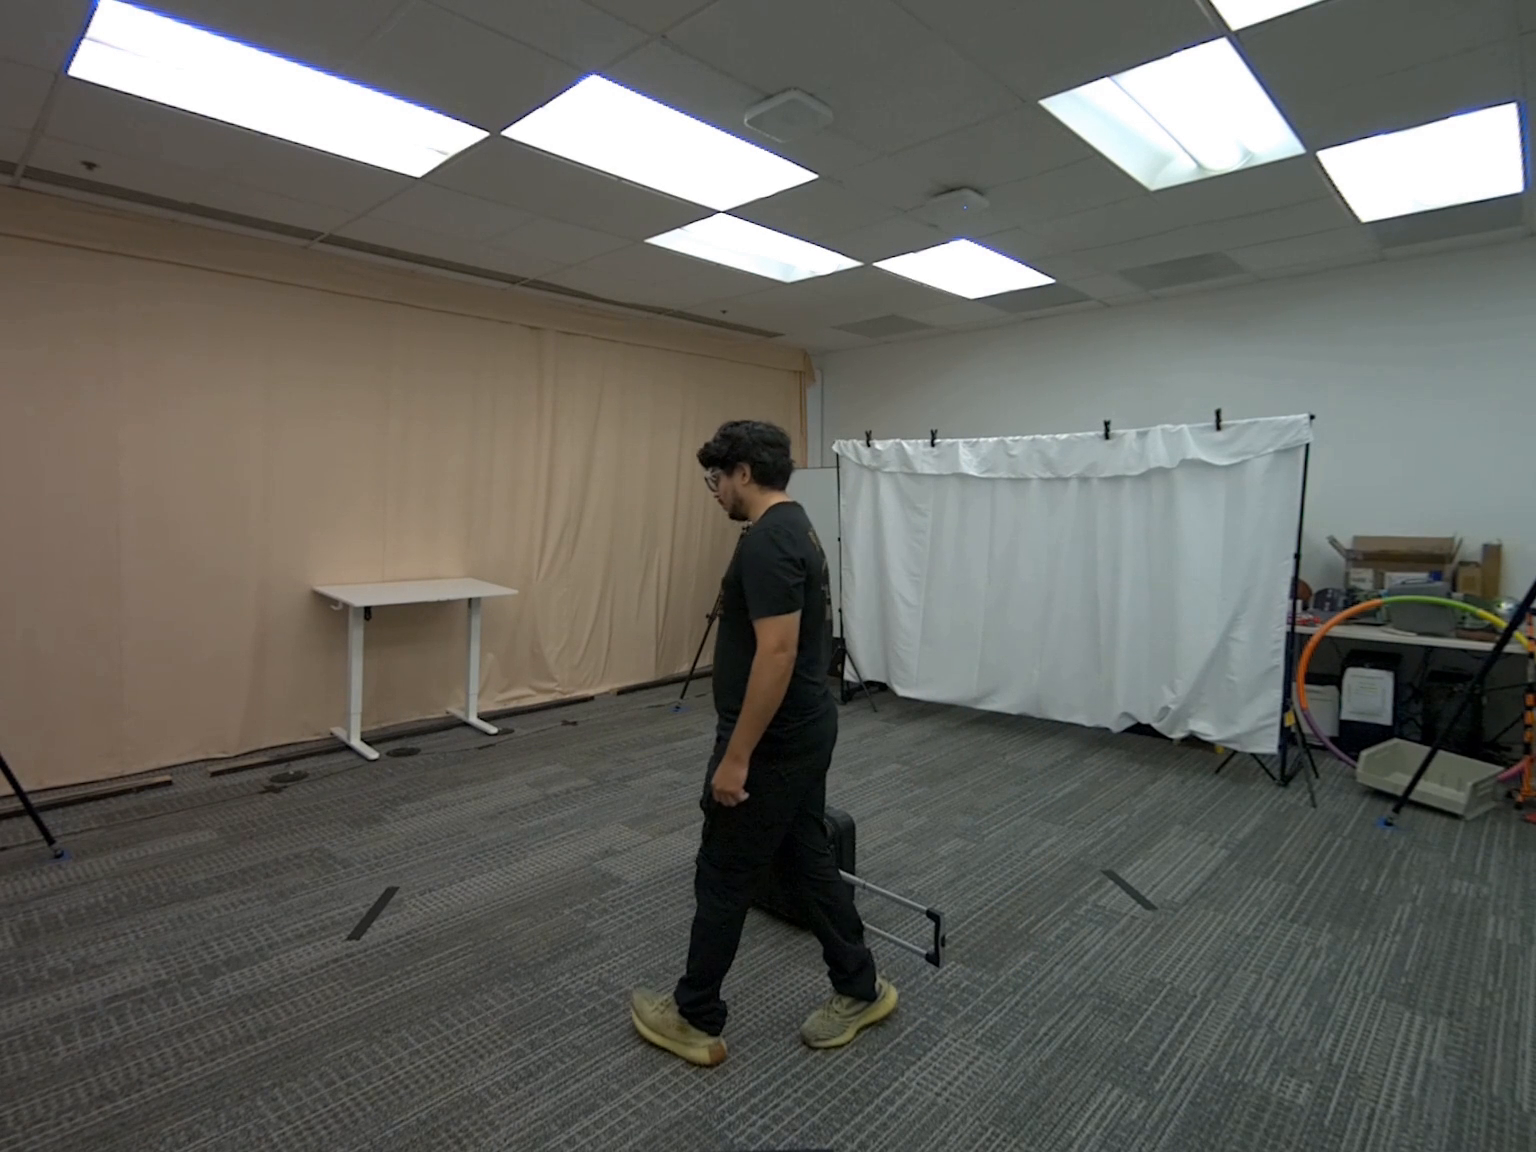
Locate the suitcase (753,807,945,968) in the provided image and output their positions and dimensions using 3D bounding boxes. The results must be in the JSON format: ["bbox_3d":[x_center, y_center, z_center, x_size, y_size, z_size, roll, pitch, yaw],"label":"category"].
[{"bbox_3d":[0.199,0.972,2.799,1.012,0.383,0.249,5,6,43],"label":"suitcase"}]
